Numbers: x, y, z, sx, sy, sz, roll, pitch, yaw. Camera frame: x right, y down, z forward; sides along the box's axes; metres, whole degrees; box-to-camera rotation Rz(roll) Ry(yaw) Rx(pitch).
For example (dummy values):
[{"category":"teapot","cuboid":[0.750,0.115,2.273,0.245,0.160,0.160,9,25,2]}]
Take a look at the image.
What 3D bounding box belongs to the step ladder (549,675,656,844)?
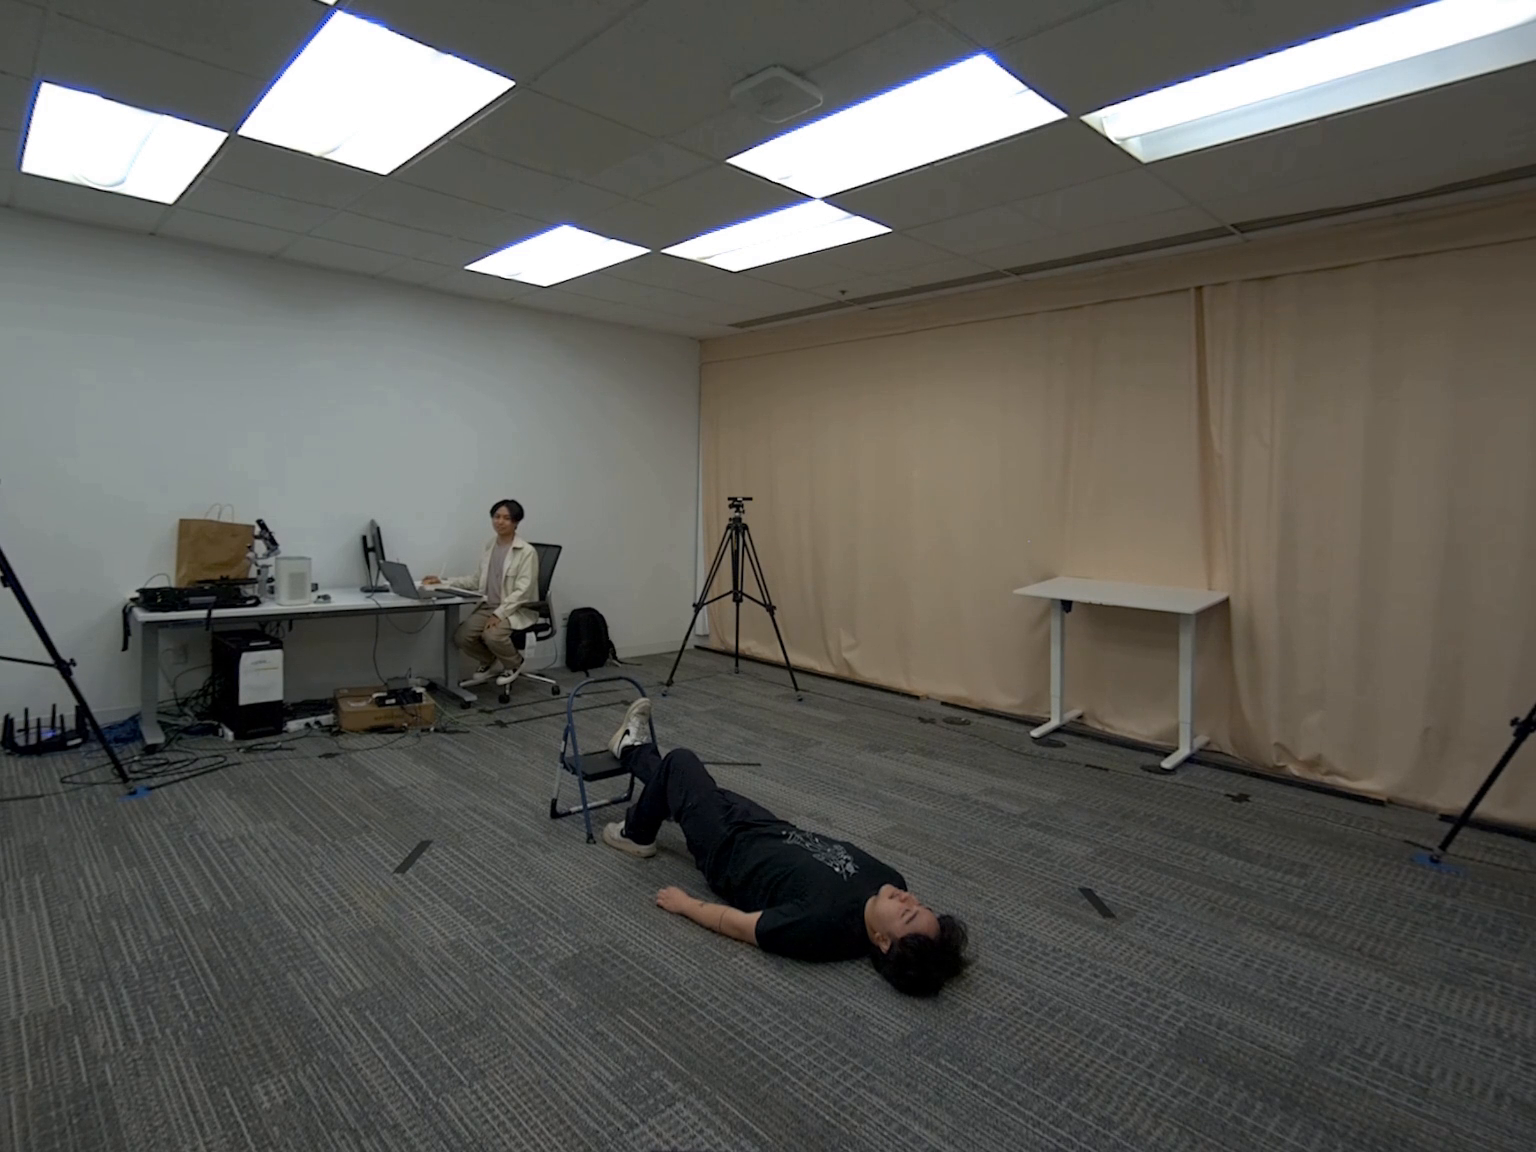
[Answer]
[{"category":"step ladder","cuboid":[-0.678,0.752,3.619,0.420,0.605,0.358,-1,4,-43]}]
